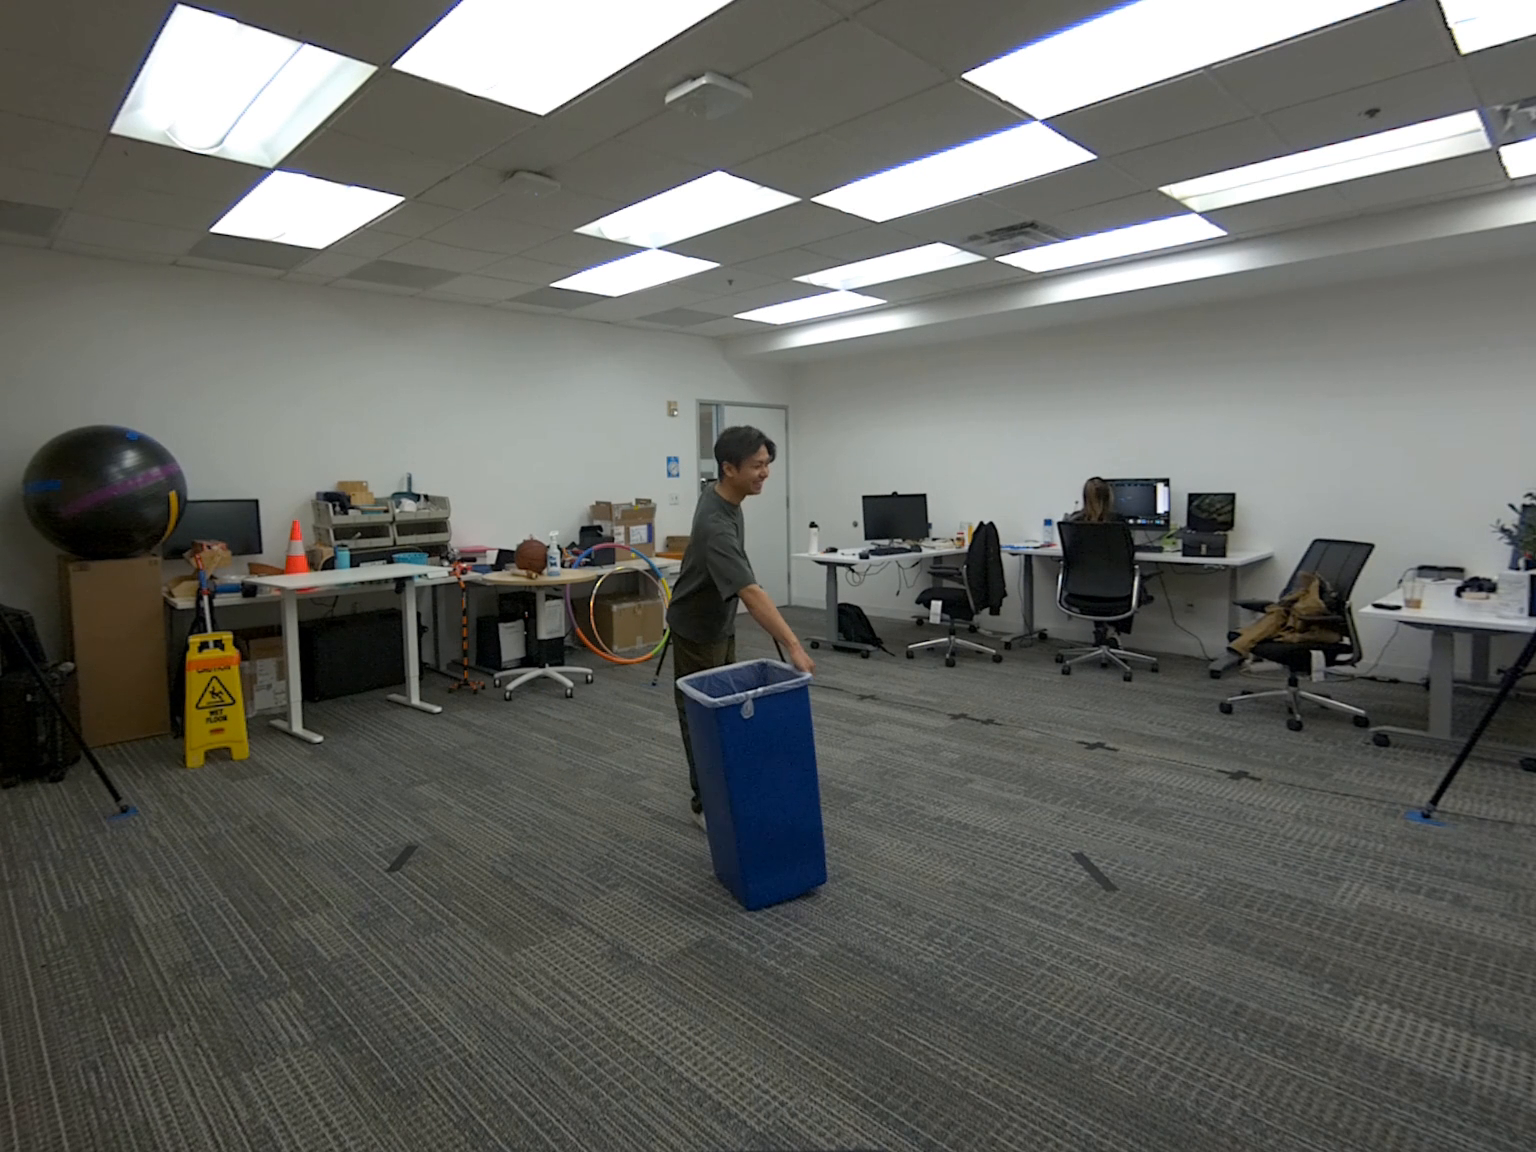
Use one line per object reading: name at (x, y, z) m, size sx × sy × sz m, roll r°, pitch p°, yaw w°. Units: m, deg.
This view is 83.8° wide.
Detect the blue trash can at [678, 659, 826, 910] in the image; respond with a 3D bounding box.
blue trash can at (-0.054, 0.691, 2.926) m, size 0.371 × 0.710 × 0.383 m, roll -9°, pitch 6°, yaw -23°
